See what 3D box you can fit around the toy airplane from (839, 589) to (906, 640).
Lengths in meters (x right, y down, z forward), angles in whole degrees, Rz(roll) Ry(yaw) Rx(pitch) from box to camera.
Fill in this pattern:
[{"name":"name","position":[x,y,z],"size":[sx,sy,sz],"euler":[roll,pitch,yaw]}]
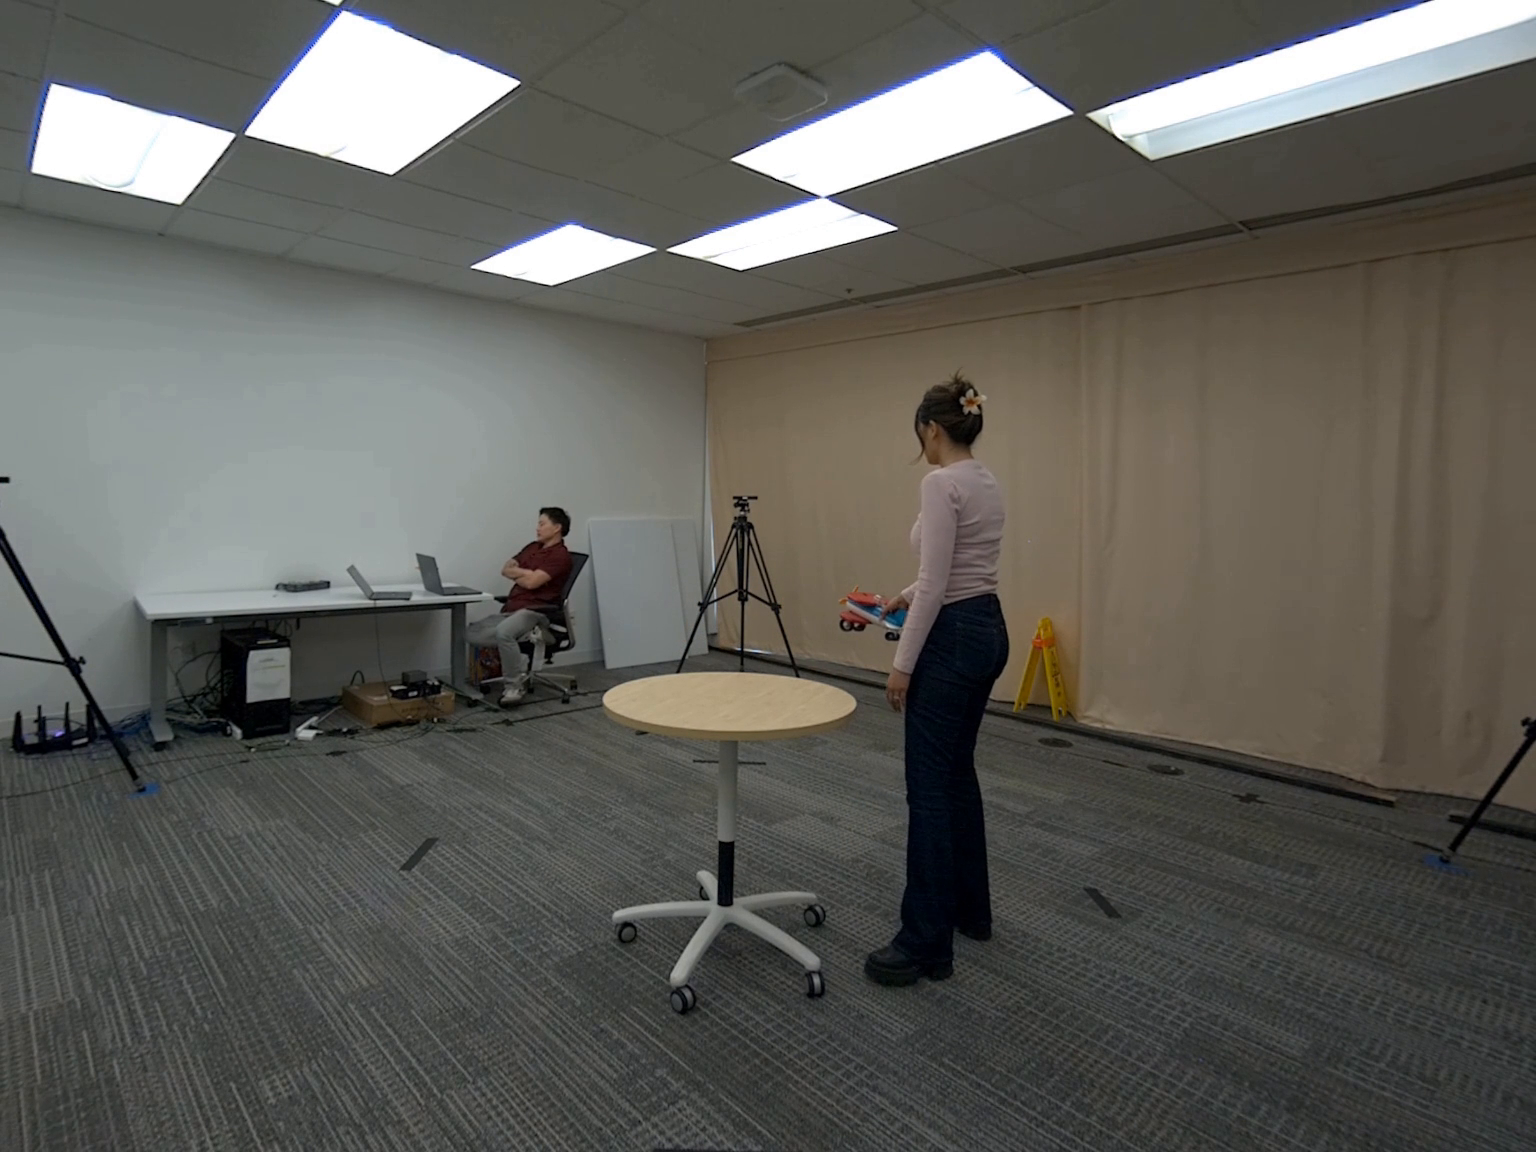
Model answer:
[{"name":"toy airplane","position":[0.402,0.150,3.202],"size":[0.262,0.156,0.249],"euler":[7,2,10]}]
